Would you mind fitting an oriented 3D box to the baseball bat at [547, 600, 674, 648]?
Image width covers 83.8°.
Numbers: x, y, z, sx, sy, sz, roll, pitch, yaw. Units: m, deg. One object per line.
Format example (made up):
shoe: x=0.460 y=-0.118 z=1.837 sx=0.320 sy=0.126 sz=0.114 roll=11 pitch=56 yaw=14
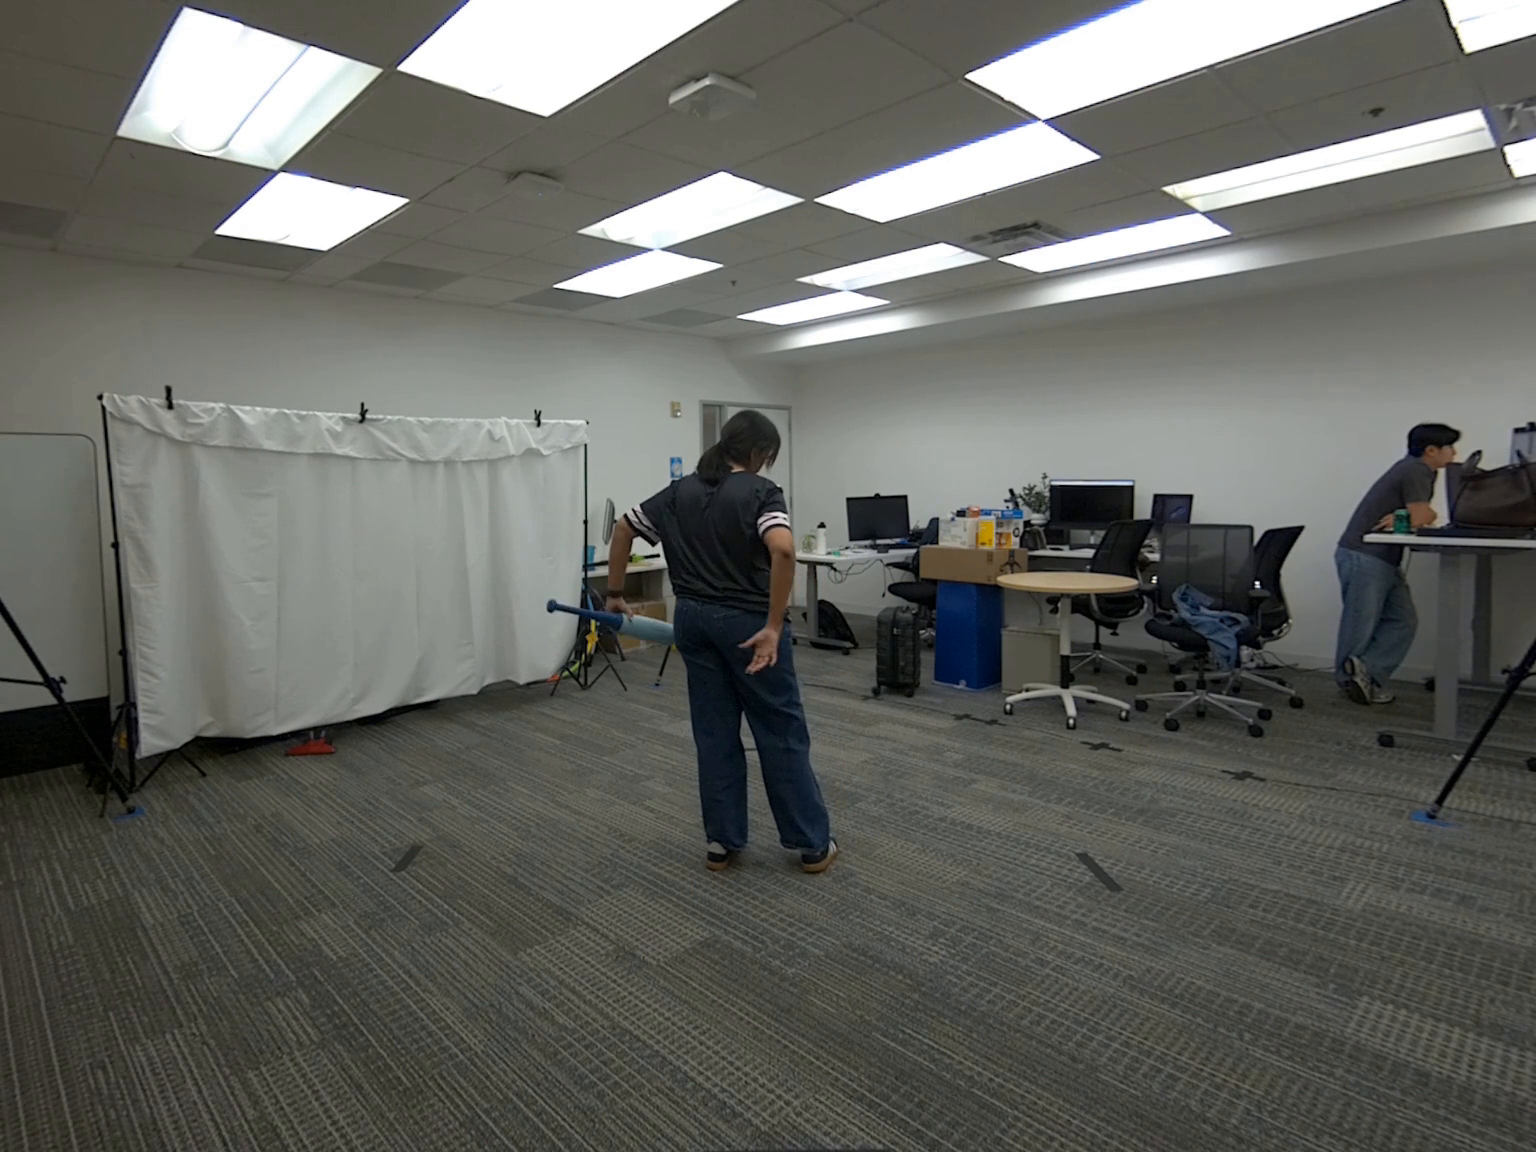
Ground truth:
baseball bat: x=-0.570 y=0.153 z=3.189 sx=0.526 sy=0.089 sz=0.091 roll=17 pitch=-6 yaw=-33
